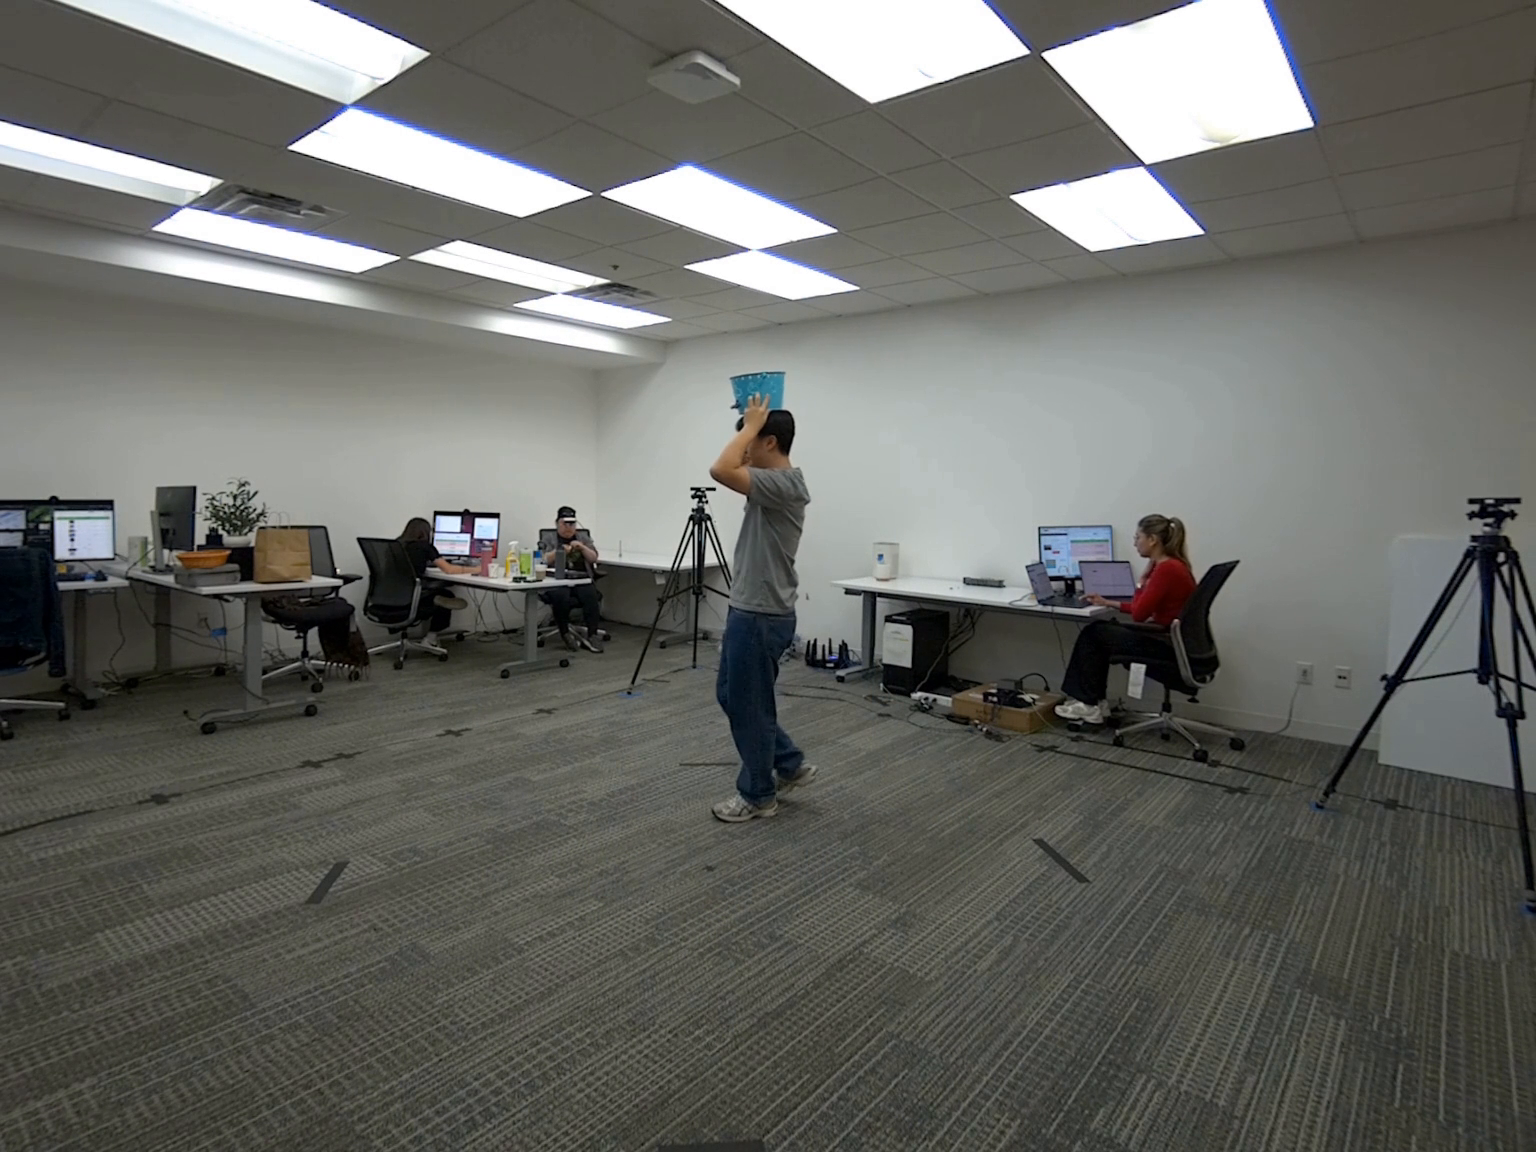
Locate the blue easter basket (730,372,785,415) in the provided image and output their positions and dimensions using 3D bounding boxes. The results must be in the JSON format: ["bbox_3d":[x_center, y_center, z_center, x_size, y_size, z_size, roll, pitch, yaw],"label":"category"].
[{"bbox_3d":[-0.048,-0.753,3.508,0.243,0.155,0.245,-6,7,-1],"label":"blue easter basket"}]
